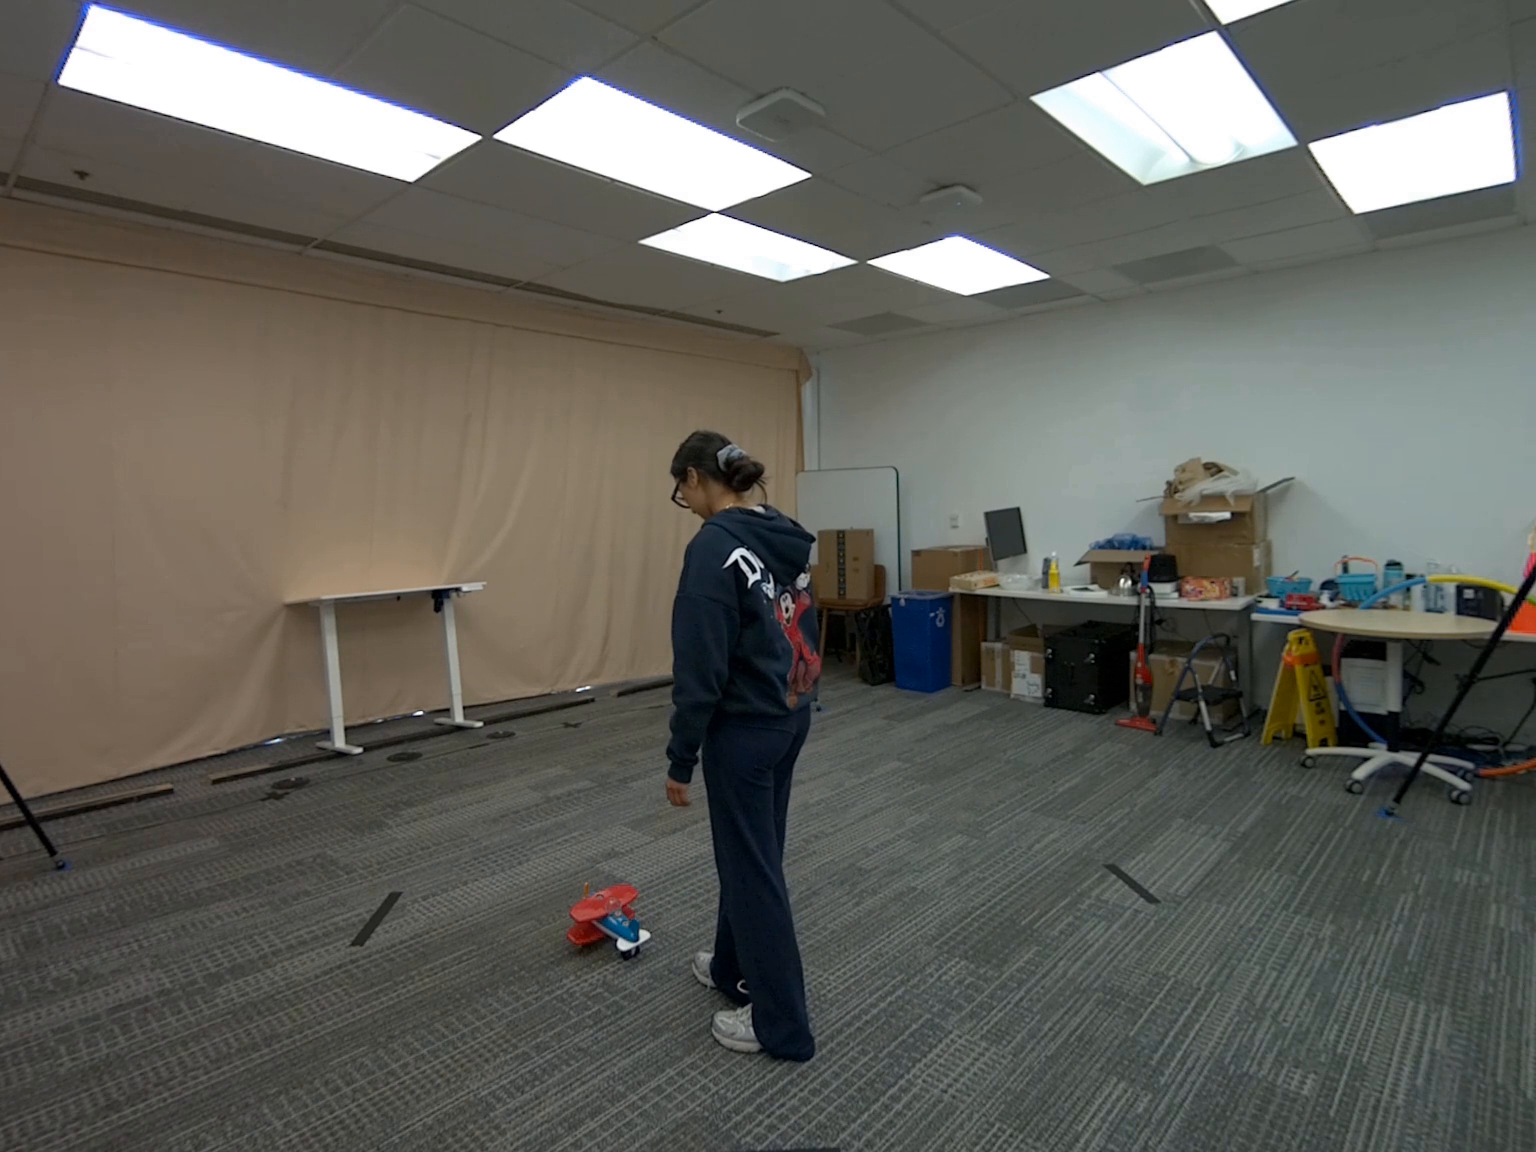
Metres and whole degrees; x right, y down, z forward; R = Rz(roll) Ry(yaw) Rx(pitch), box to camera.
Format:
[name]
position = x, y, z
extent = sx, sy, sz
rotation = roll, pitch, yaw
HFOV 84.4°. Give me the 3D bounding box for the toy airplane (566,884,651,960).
[toy airplane]
position = -0.485, 1.101, 2.685
extent = 0.263, 0.156, 0.248
rotation = -1, 5, 12
